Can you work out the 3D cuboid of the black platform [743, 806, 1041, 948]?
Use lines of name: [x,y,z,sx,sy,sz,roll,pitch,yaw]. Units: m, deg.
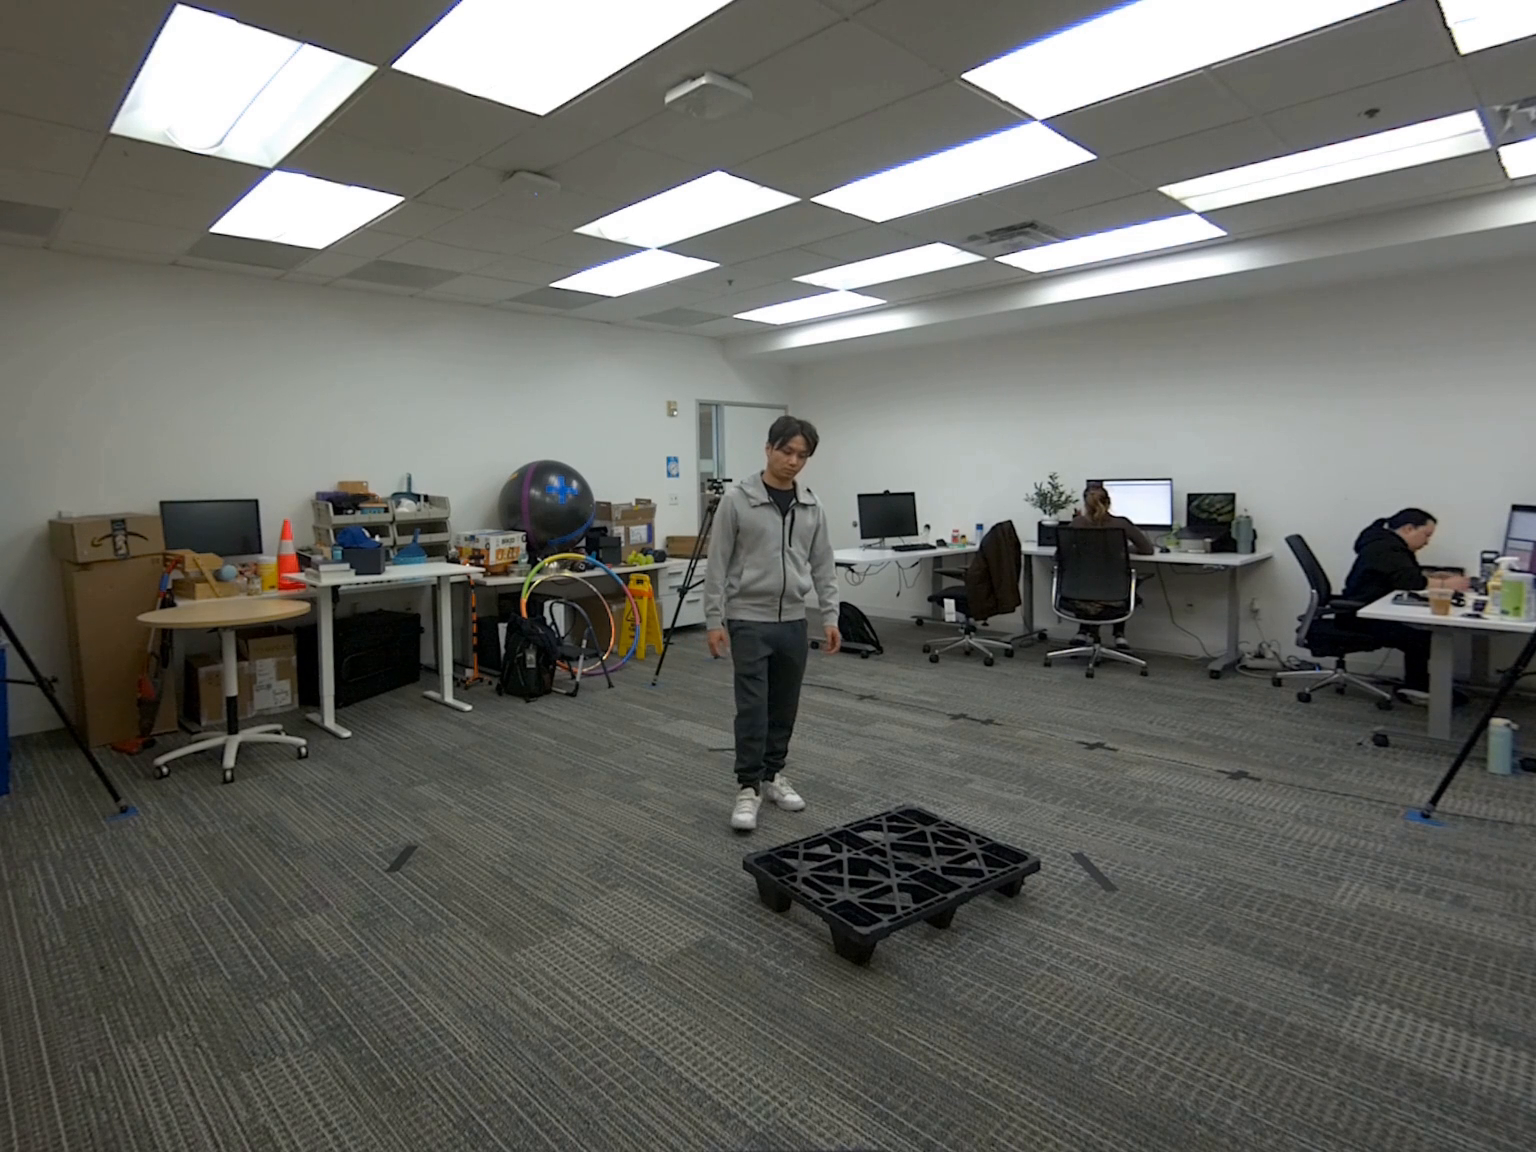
black platform: [0.405,1.003,2.833,0.785,0.143,0.623,-5,7,-35]
